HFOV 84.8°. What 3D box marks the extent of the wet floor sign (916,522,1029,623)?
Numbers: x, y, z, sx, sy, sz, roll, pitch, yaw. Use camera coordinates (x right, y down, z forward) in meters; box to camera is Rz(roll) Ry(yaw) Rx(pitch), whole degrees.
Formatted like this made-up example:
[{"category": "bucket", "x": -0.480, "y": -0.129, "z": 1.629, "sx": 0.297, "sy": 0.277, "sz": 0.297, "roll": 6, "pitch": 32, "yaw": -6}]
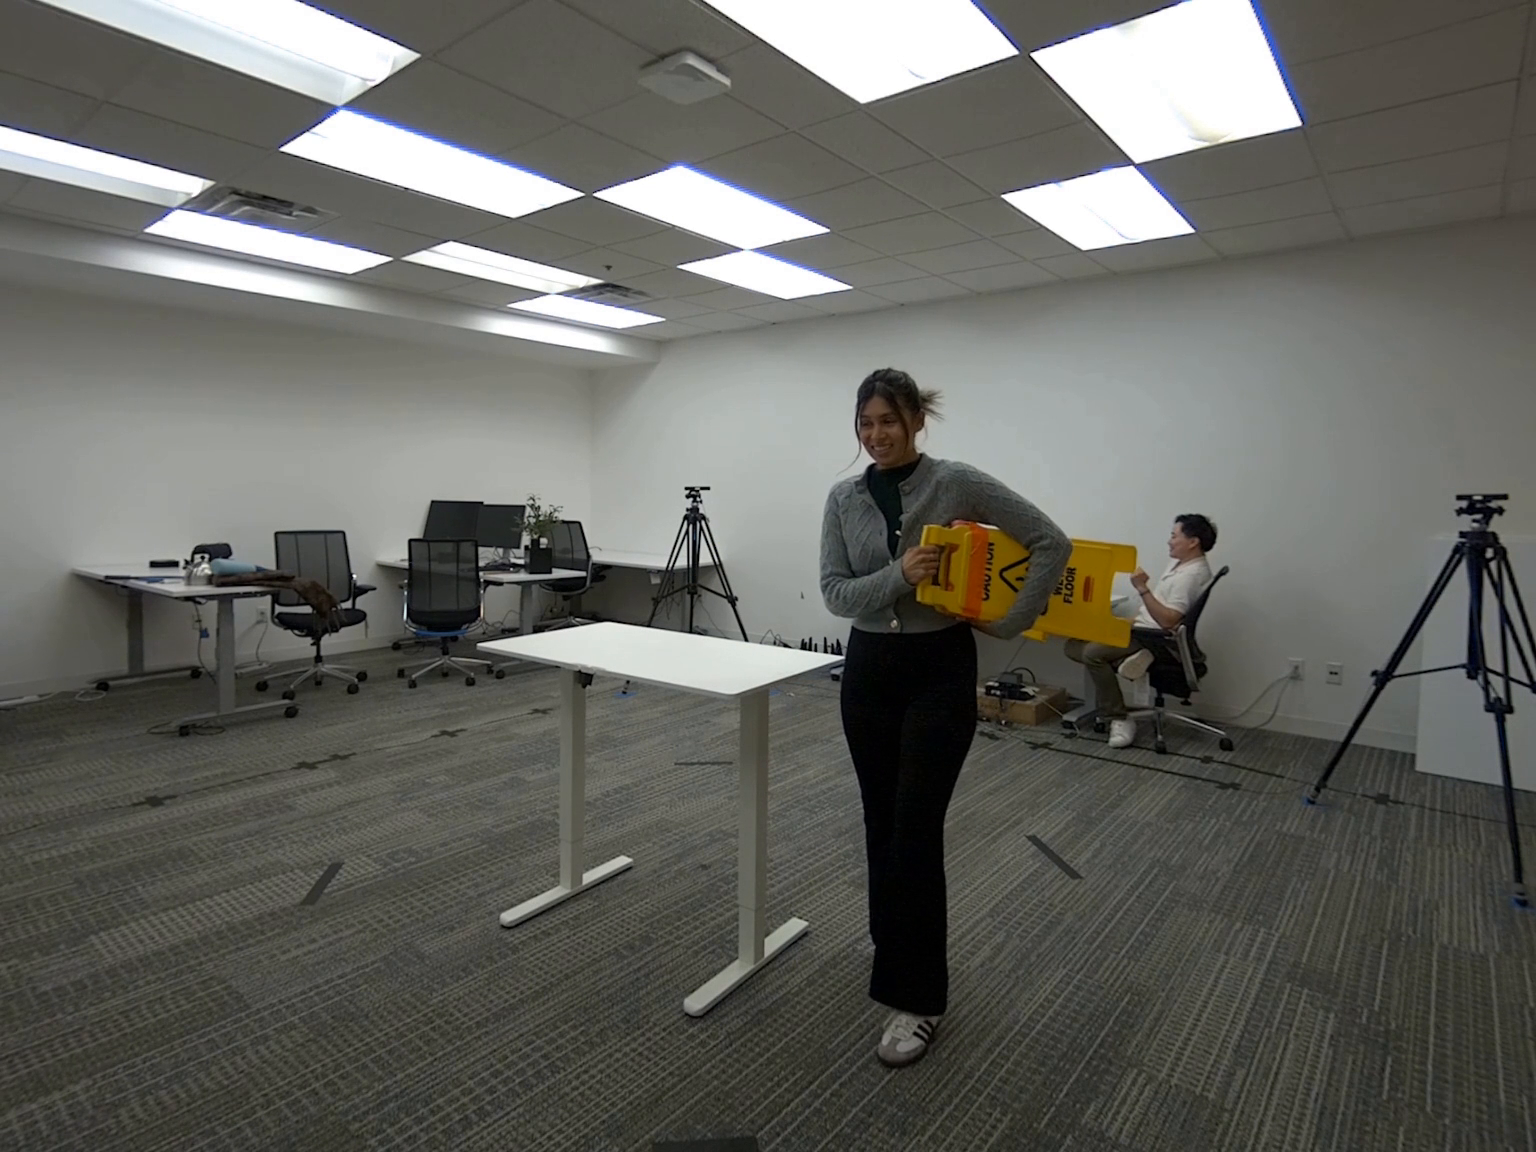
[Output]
[{"category": "wet floor sign", "x": 0.644, "y": 0.012, "z": 2.262, "sx": 0.626, "sy": 0.283, "sz": 0.298, "roll": 10, "pitch": -5, "yaw": -31}]
